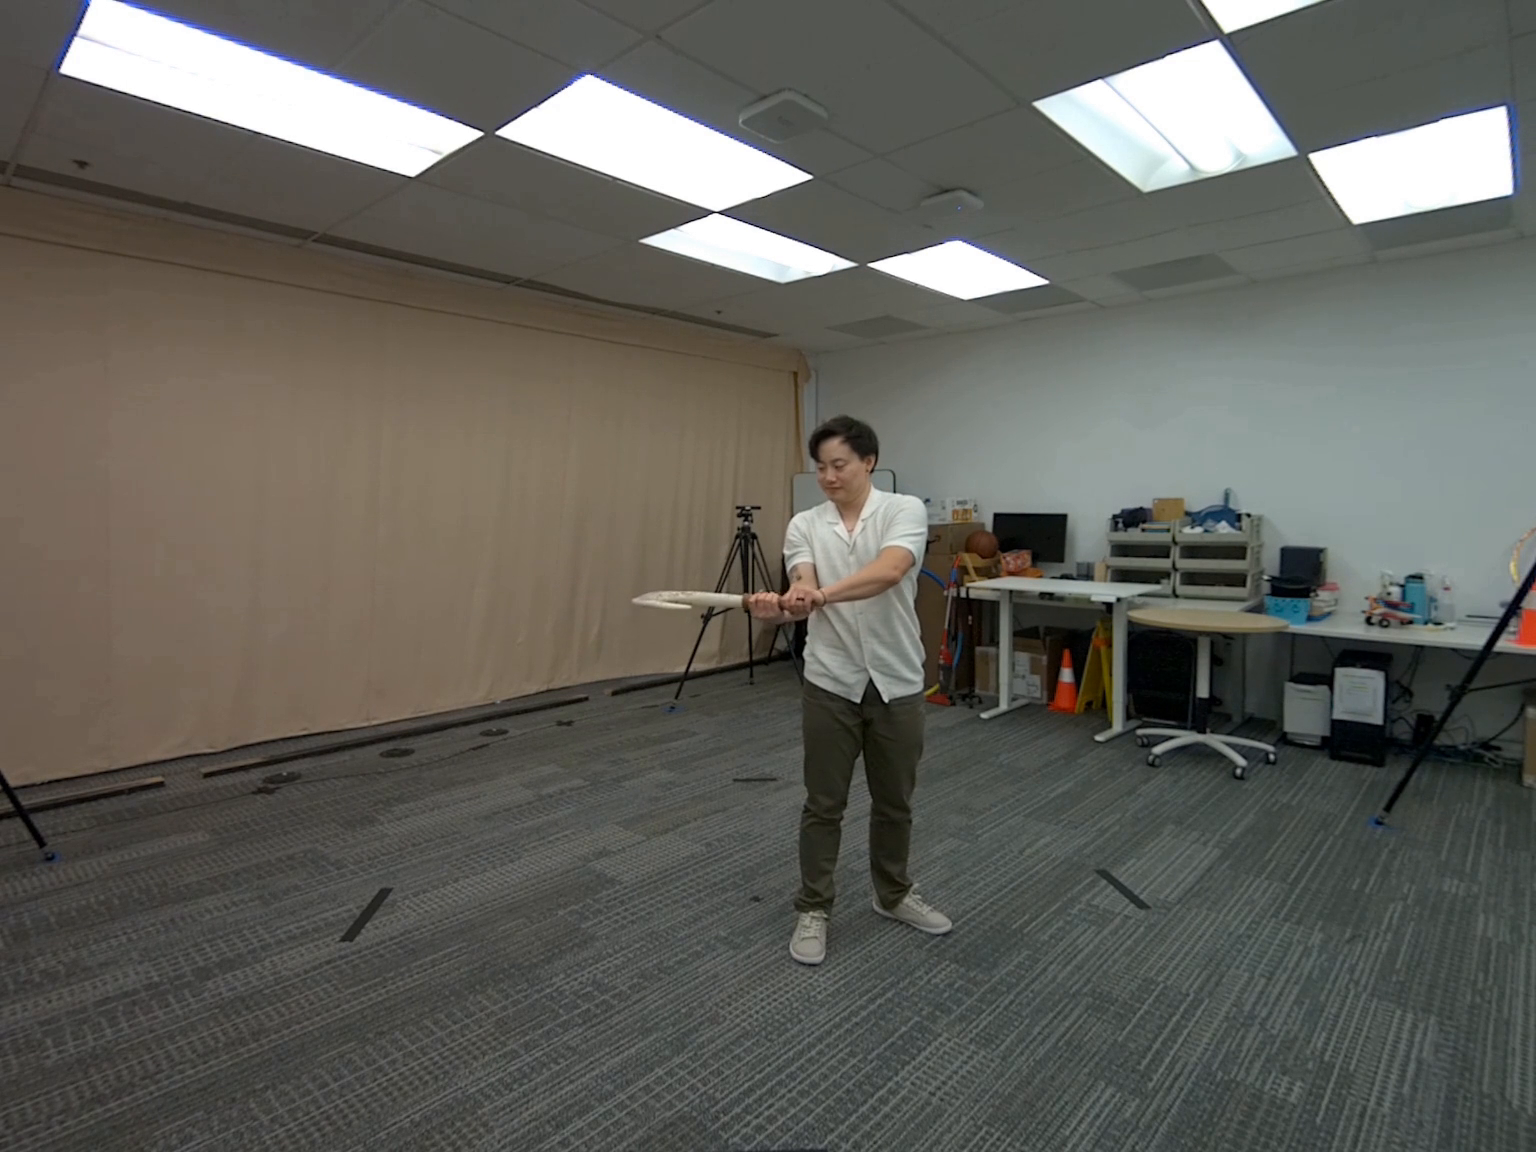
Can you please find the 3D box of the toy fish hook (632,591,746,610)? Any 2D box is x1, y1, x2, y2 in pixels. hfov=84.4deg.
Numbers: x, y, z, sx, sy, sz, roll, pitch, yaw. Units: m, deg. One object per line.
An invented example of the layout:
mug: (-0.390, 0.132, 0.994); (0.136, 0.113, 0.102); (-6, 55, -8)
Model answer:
toy fish hook: (-0.111, 0.079, 2.315); (0.516, 0.048, 0.221); (-1, 7, 18)
